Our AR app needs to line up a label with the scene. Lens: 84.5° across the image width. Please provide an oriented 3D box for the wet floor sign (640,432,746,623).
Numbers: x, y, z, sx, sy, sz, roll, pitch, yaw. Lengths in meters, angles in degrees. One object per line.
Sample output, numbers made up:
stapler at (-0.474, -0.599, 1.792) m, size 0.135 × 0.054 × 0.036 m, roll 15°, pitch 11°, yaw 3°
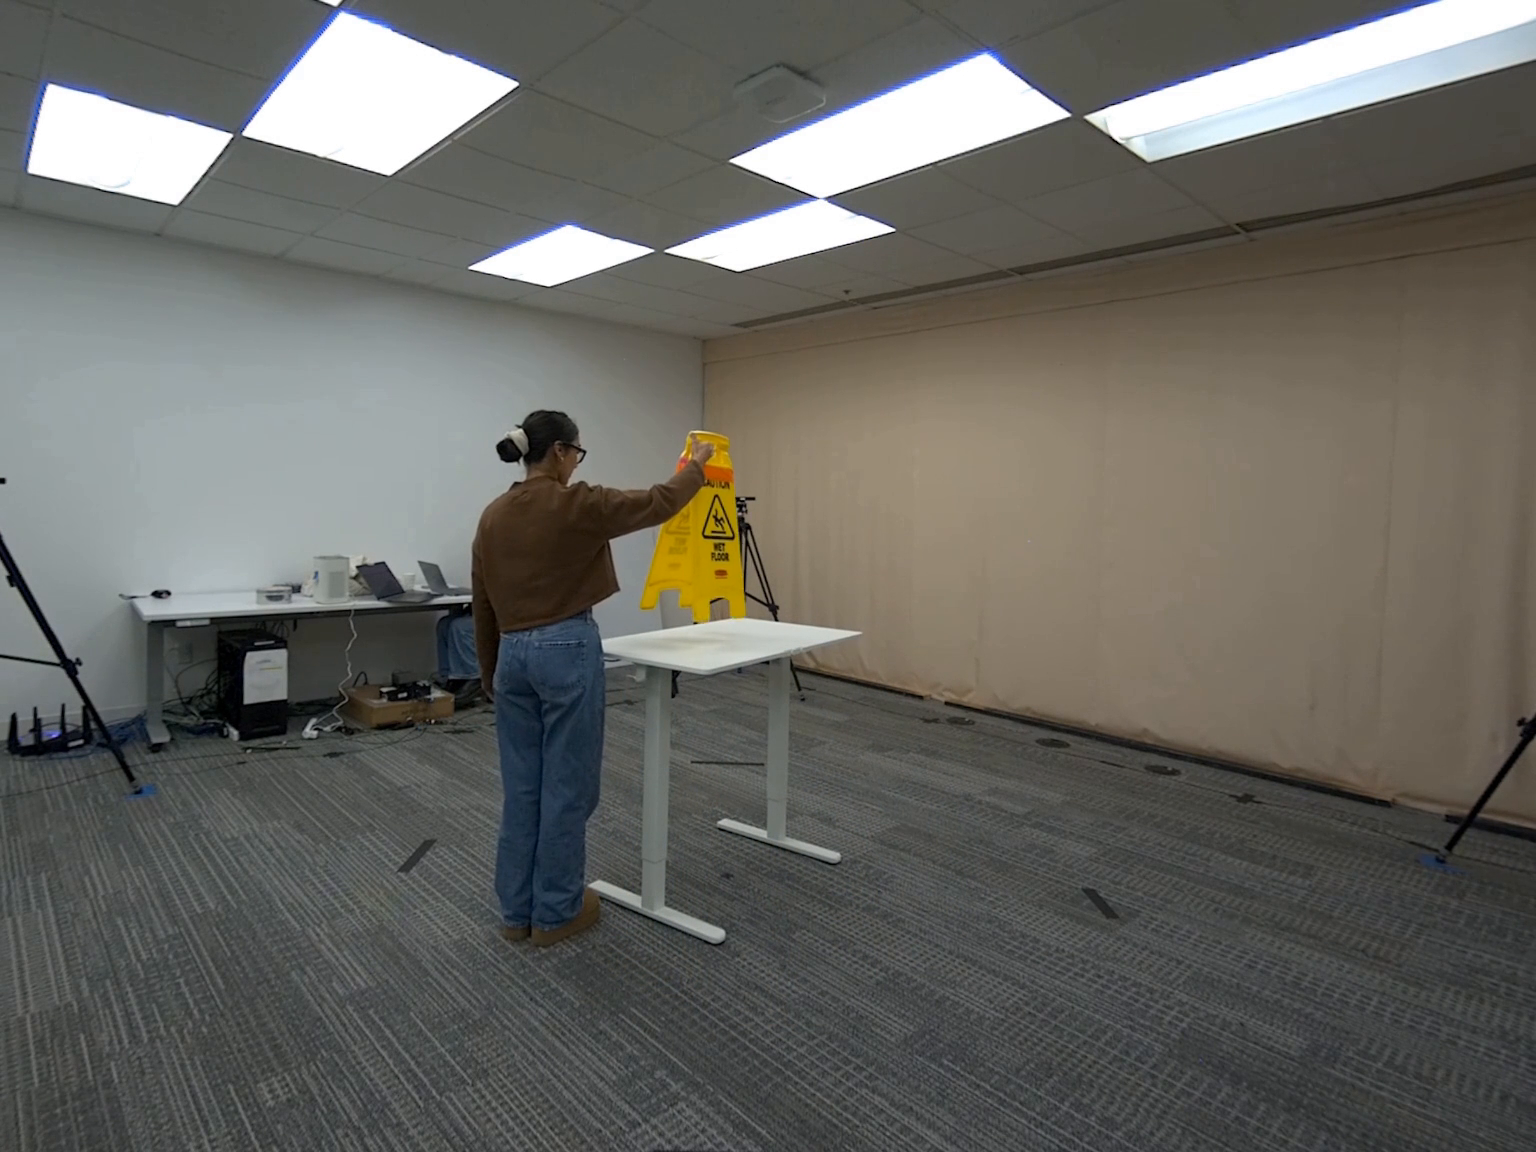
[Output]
wet floor sign at (-0.242, -0.183, 3.002) m, size 0.297 × 0.644 × 0.276 m, roll 9°, pitch 5°, yaw 37°
